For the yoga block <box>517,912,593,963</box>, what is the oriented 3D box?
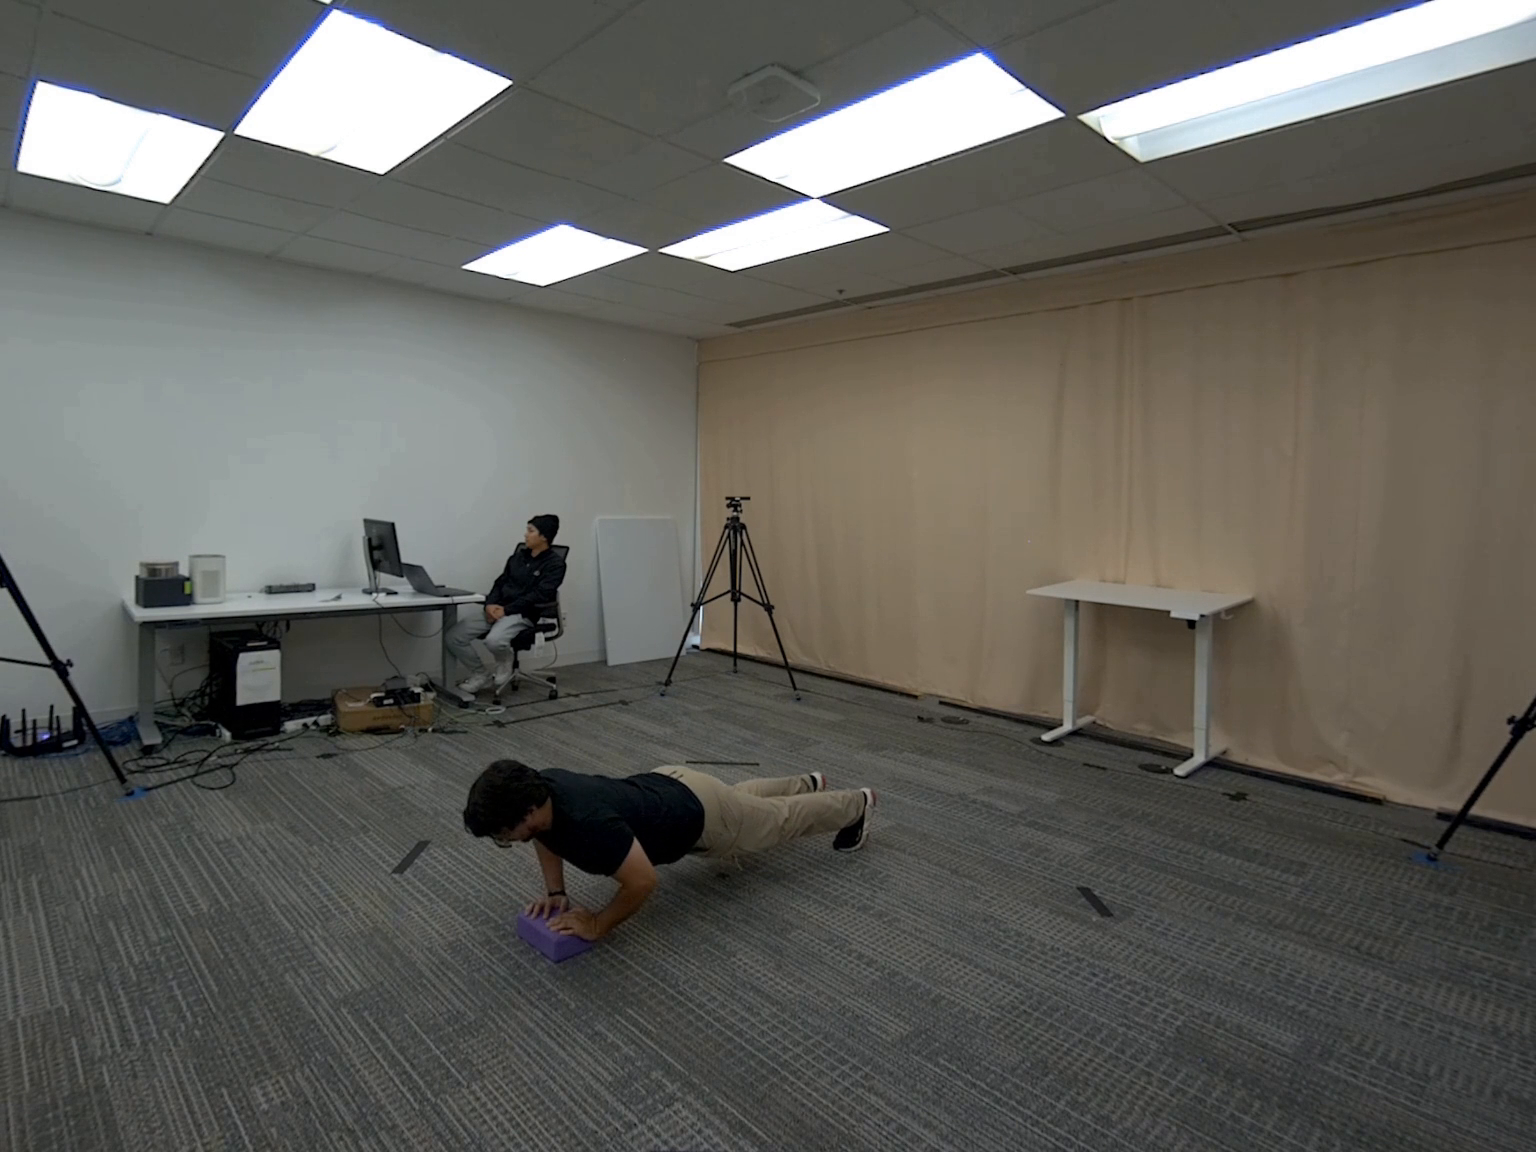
[{"bbox_3d":[-0.673,1.108,2.618,0.235,0.076,0.145,6,5,42],"label":"yoga block"}]
